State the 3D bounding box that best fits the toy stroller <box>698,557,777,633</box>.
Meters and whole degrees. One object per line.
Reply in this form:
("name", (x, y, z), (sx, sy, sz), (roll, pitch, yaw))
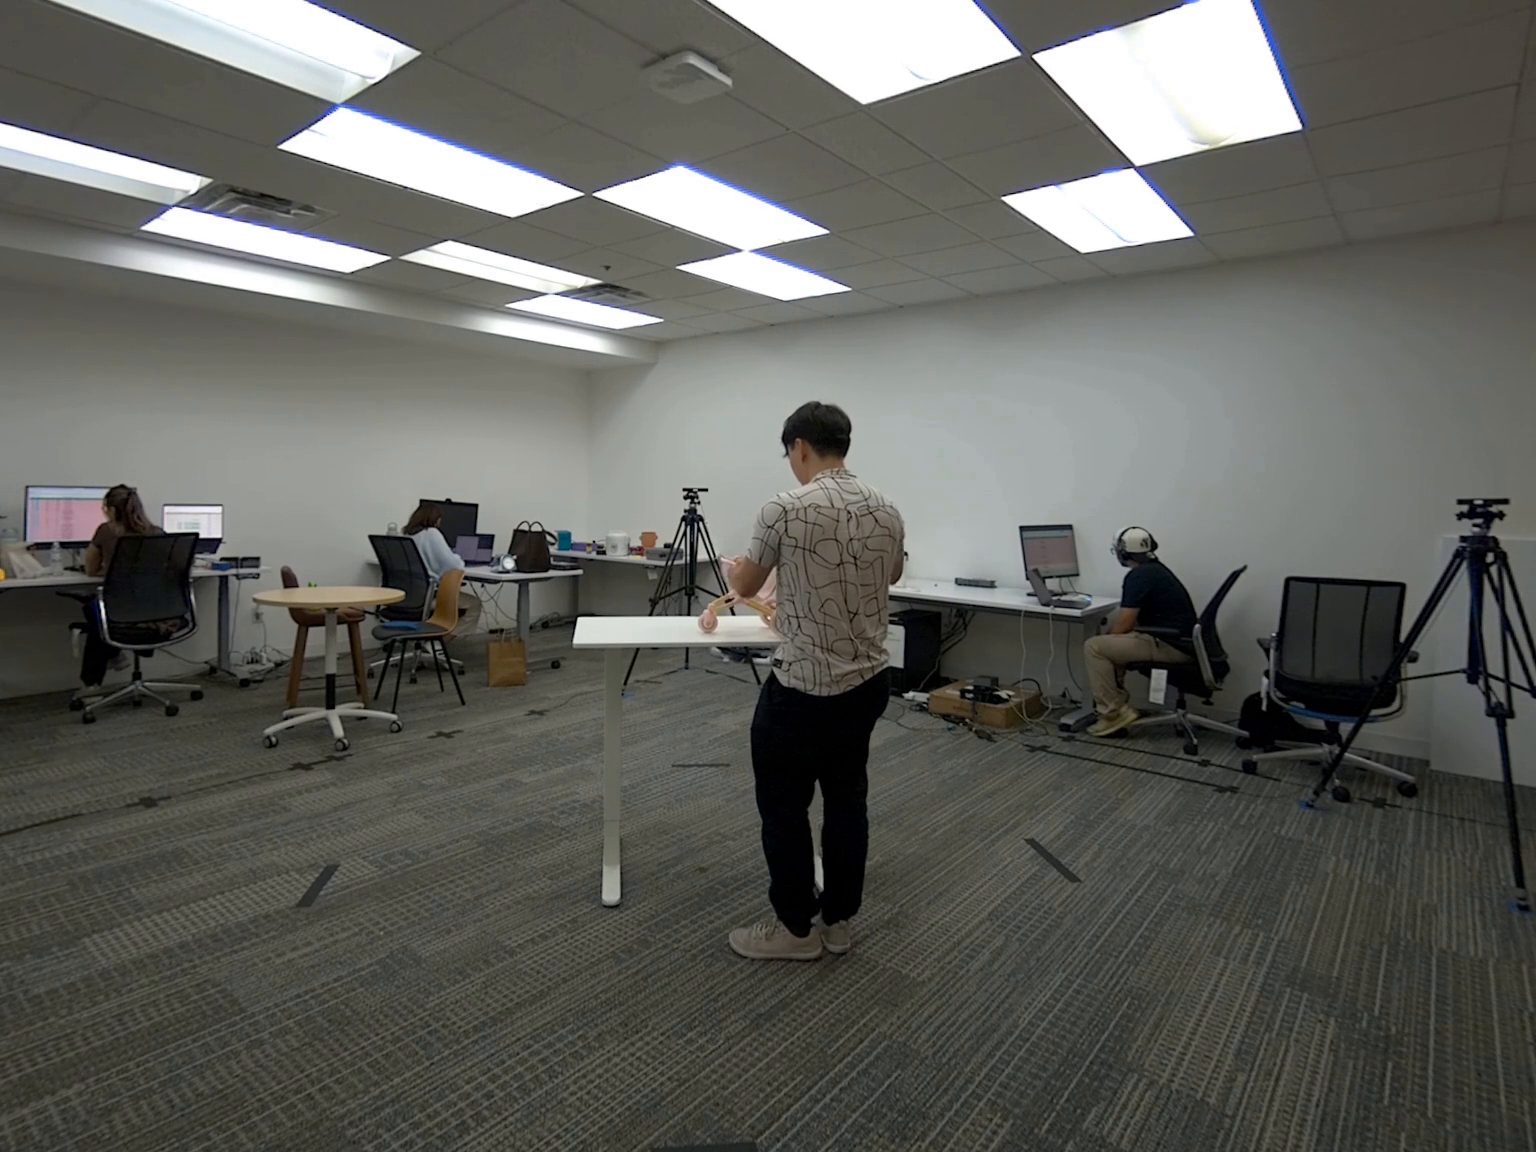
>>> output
("toy stroller", (-0.032, -0.023, 3.004), (0.341, 0.534, 0.282), (16, 3, -1))
